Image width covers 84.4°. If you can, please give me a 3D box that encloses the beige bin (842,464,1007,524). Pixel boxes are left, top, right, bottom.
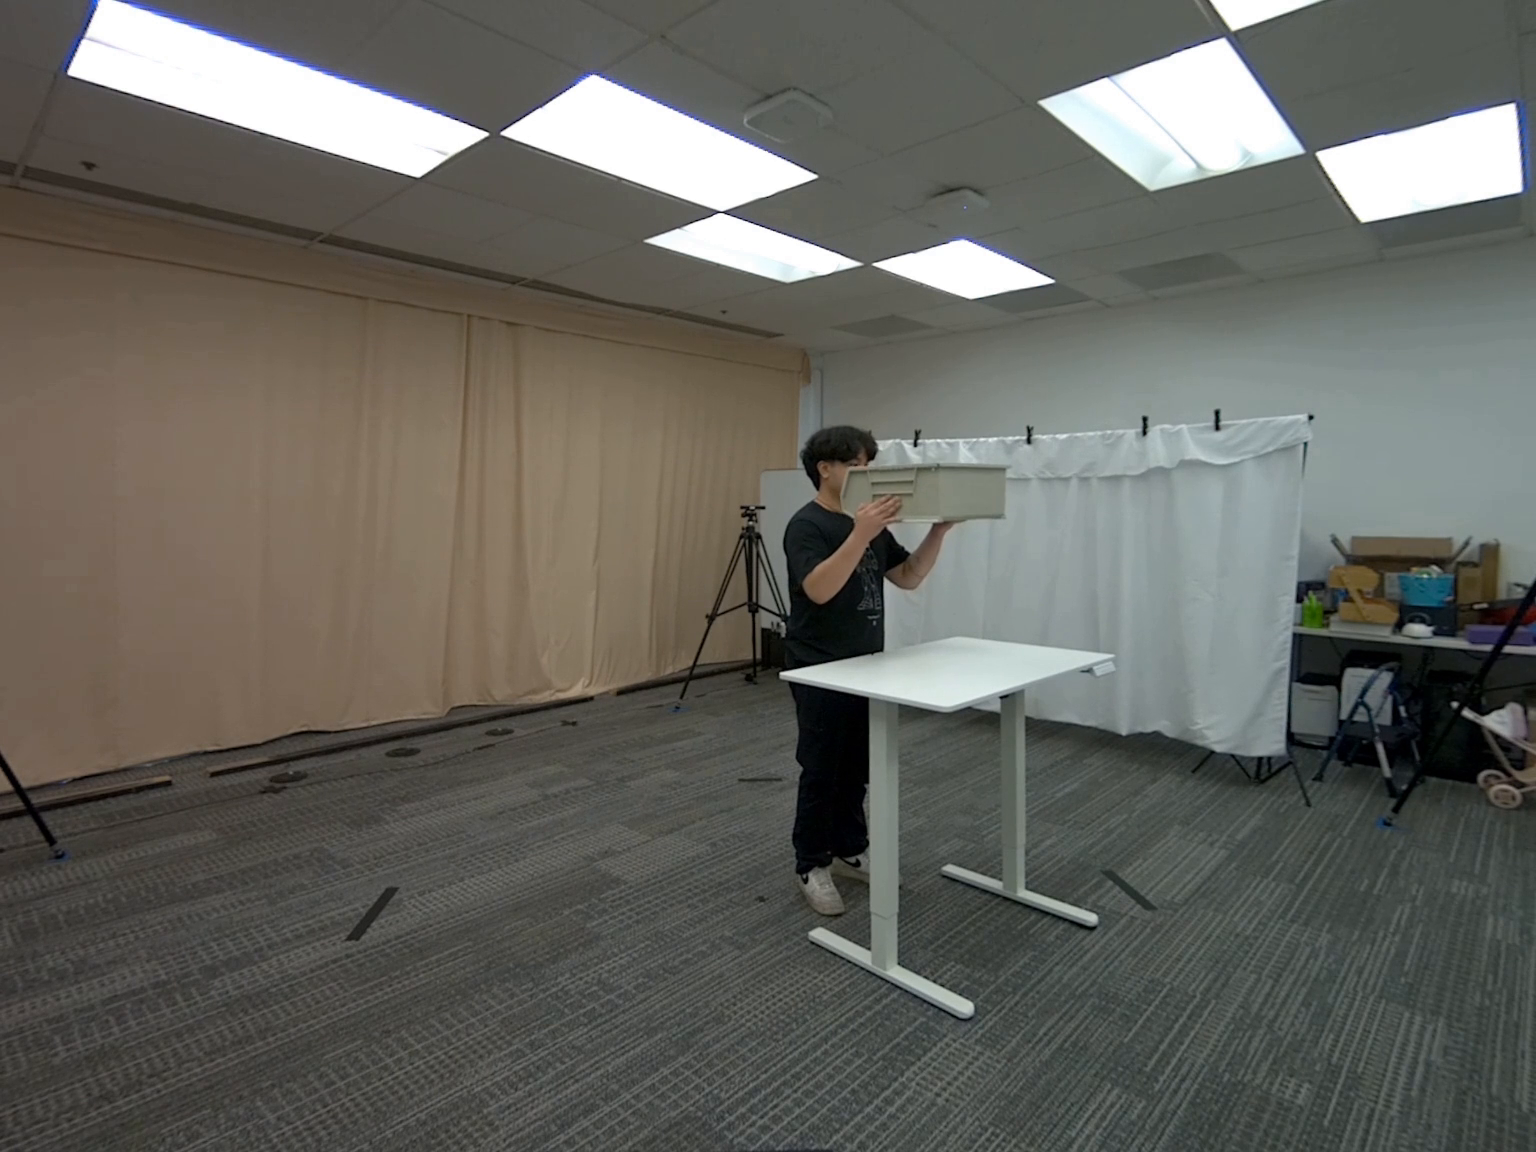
[{"bbox_3d":[0.524,-0.266,2.749,0.409,0.188,0.390,-5,6,-44],"label":"beige bin"}]
